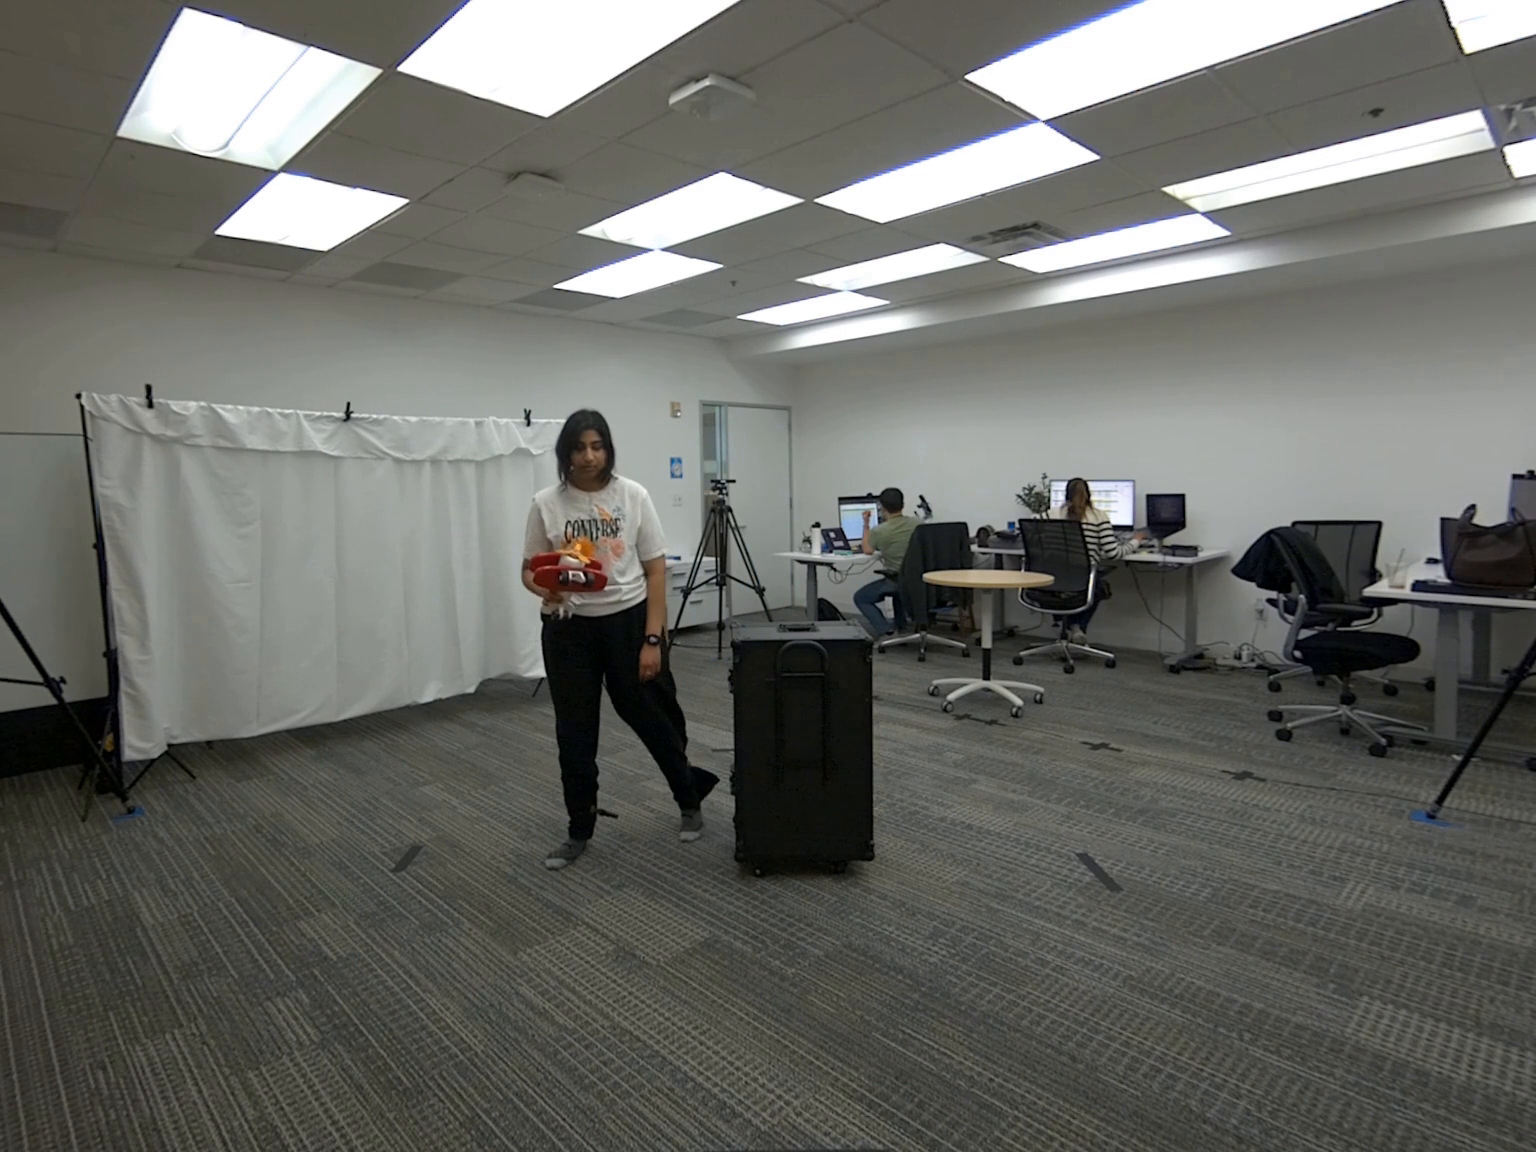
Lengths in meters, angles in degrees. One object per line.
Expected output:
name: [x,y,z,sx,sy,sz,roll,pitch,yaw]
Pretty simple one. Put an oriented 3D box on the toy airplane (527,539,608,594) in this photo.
toy airplane: [-0.697,0.029,2.901,0.260,0.162,0.241,-37,-41,17]
